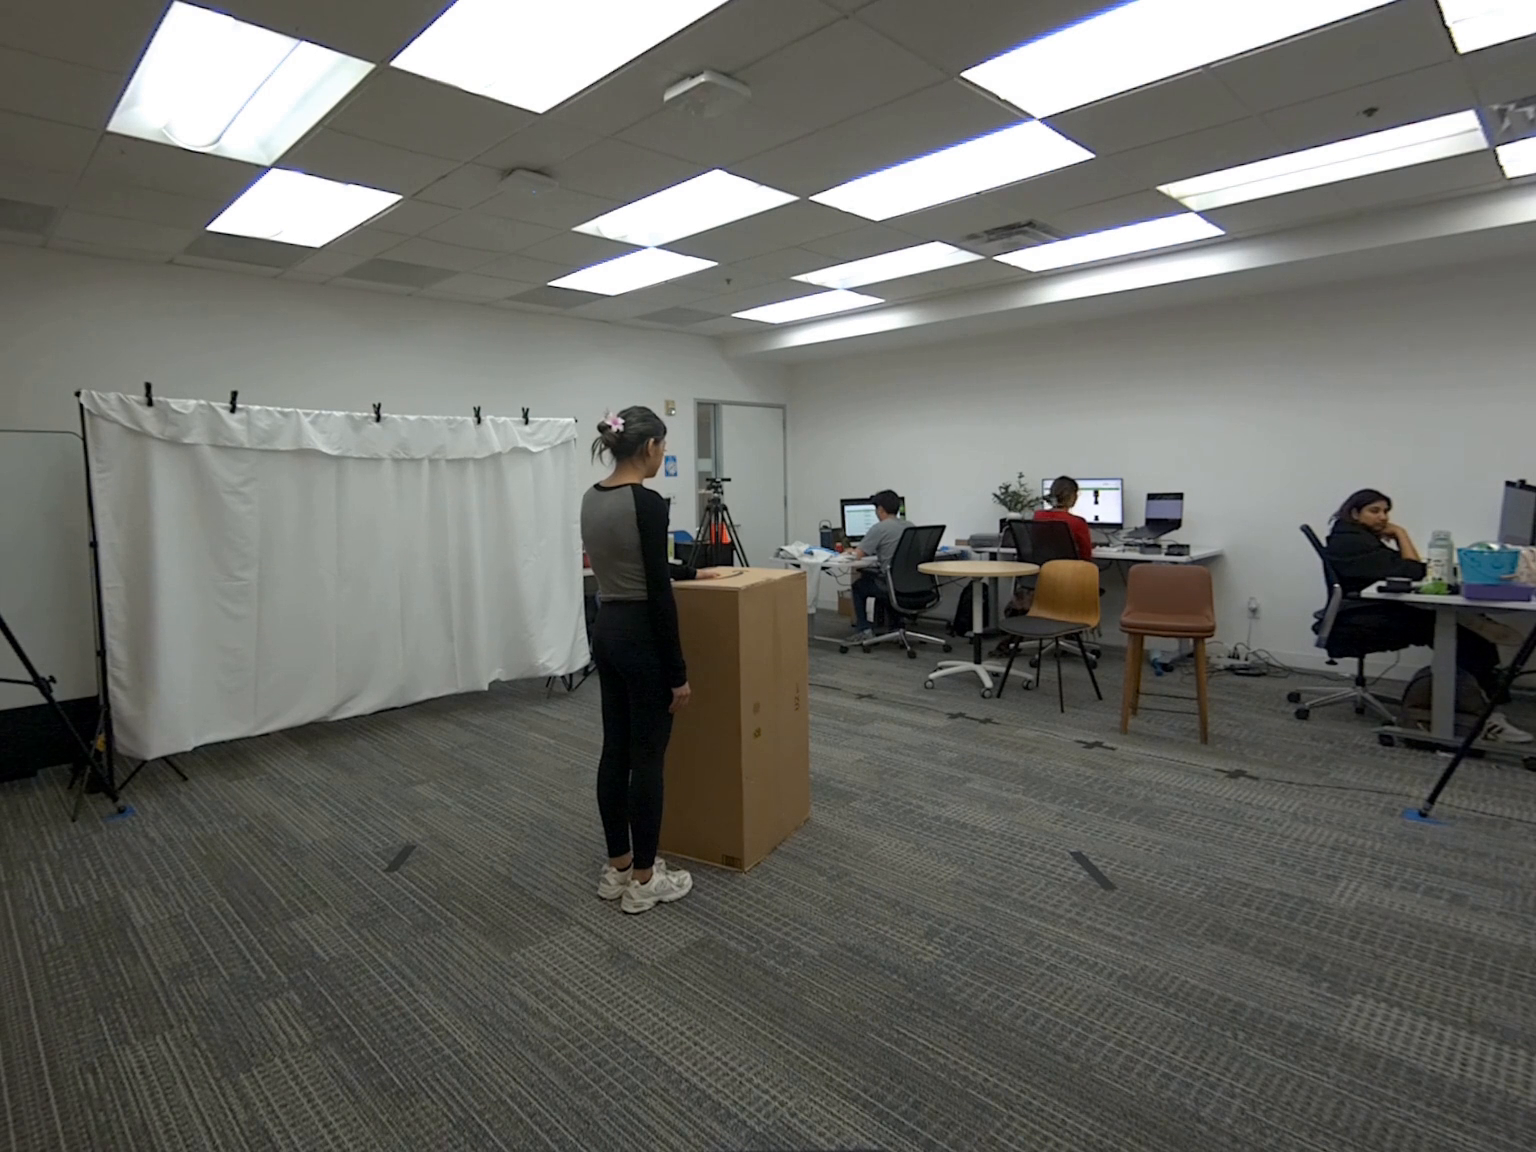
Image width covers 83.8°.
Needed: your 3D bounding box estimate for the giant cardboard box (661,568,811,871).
[{"bbox_3d":[-0.149,0.512,3.342,0.458,1.023,0.572,2,6,27],"label":"giant cardboard box"}]
